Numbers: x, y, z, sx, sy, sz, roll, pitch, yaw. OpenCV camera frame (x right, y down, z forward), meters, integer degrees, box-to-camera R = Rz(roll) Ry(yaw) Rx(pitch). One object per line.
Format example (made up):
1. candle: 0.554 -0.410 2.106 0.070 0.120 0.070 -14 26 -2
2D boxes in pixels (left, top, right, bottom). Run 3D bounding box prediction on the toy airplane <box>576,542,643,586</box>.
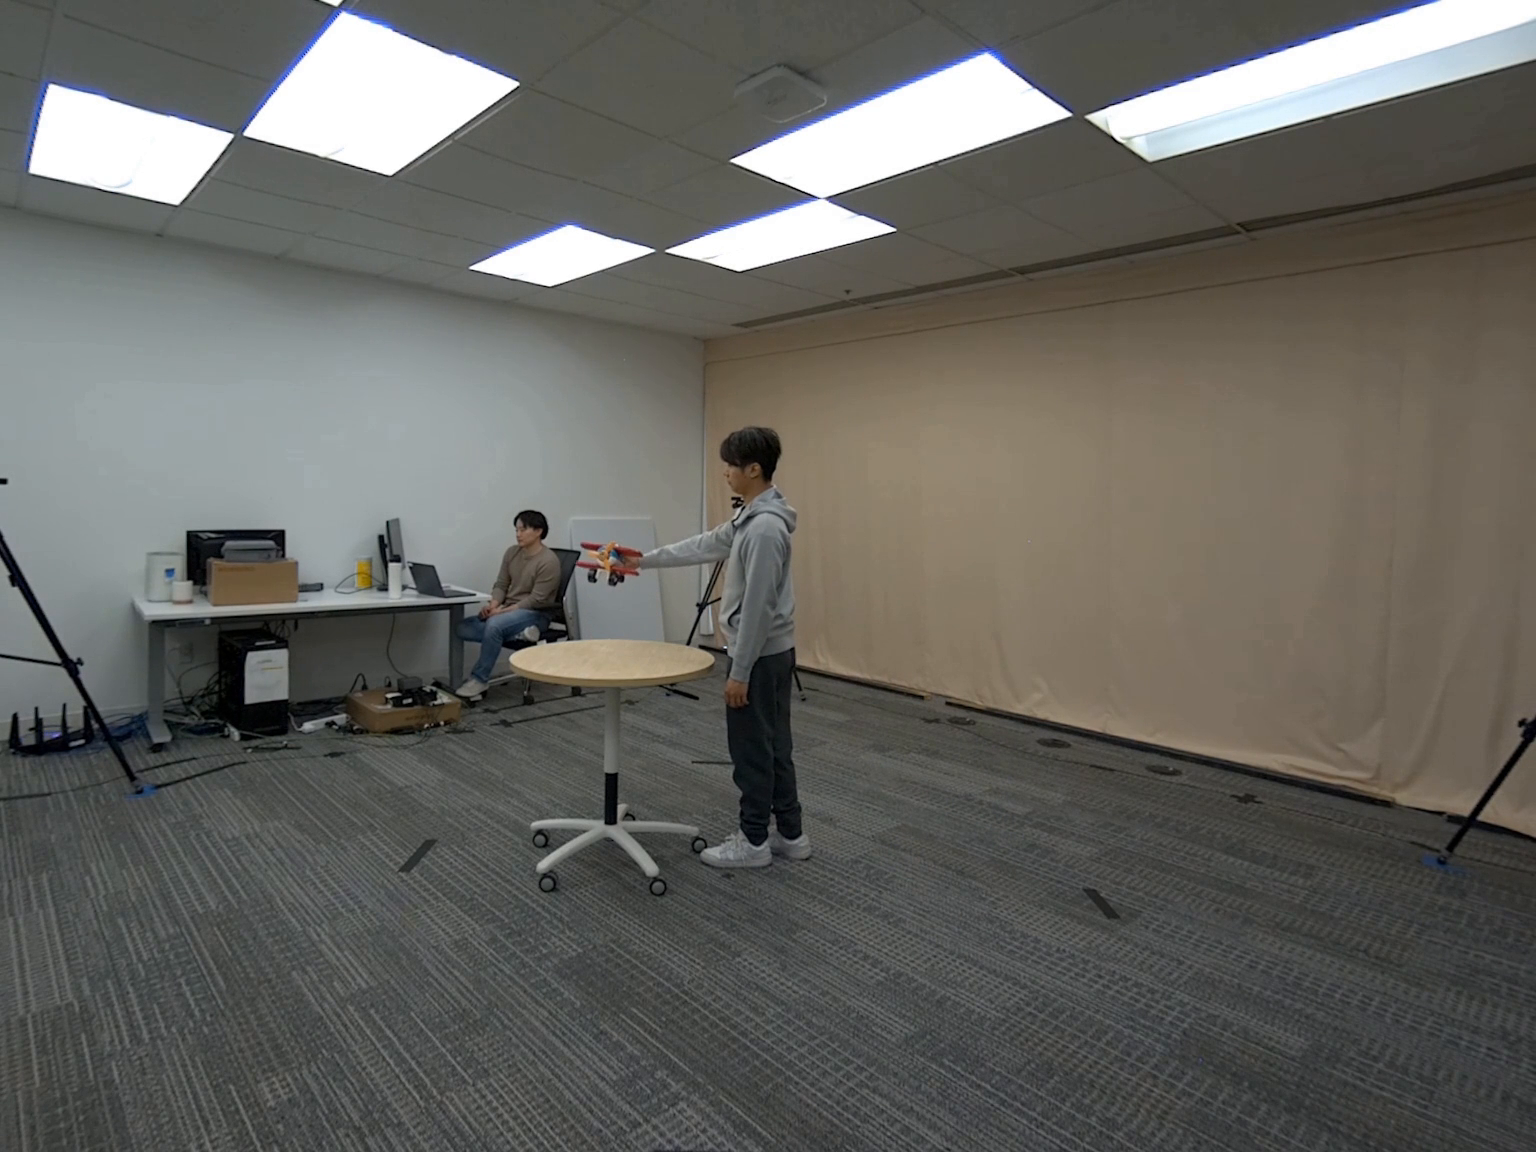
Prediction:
1. toy airplane: -0.649 -0.050 3.373 0.247 0.156 0.264 6 5 -18
